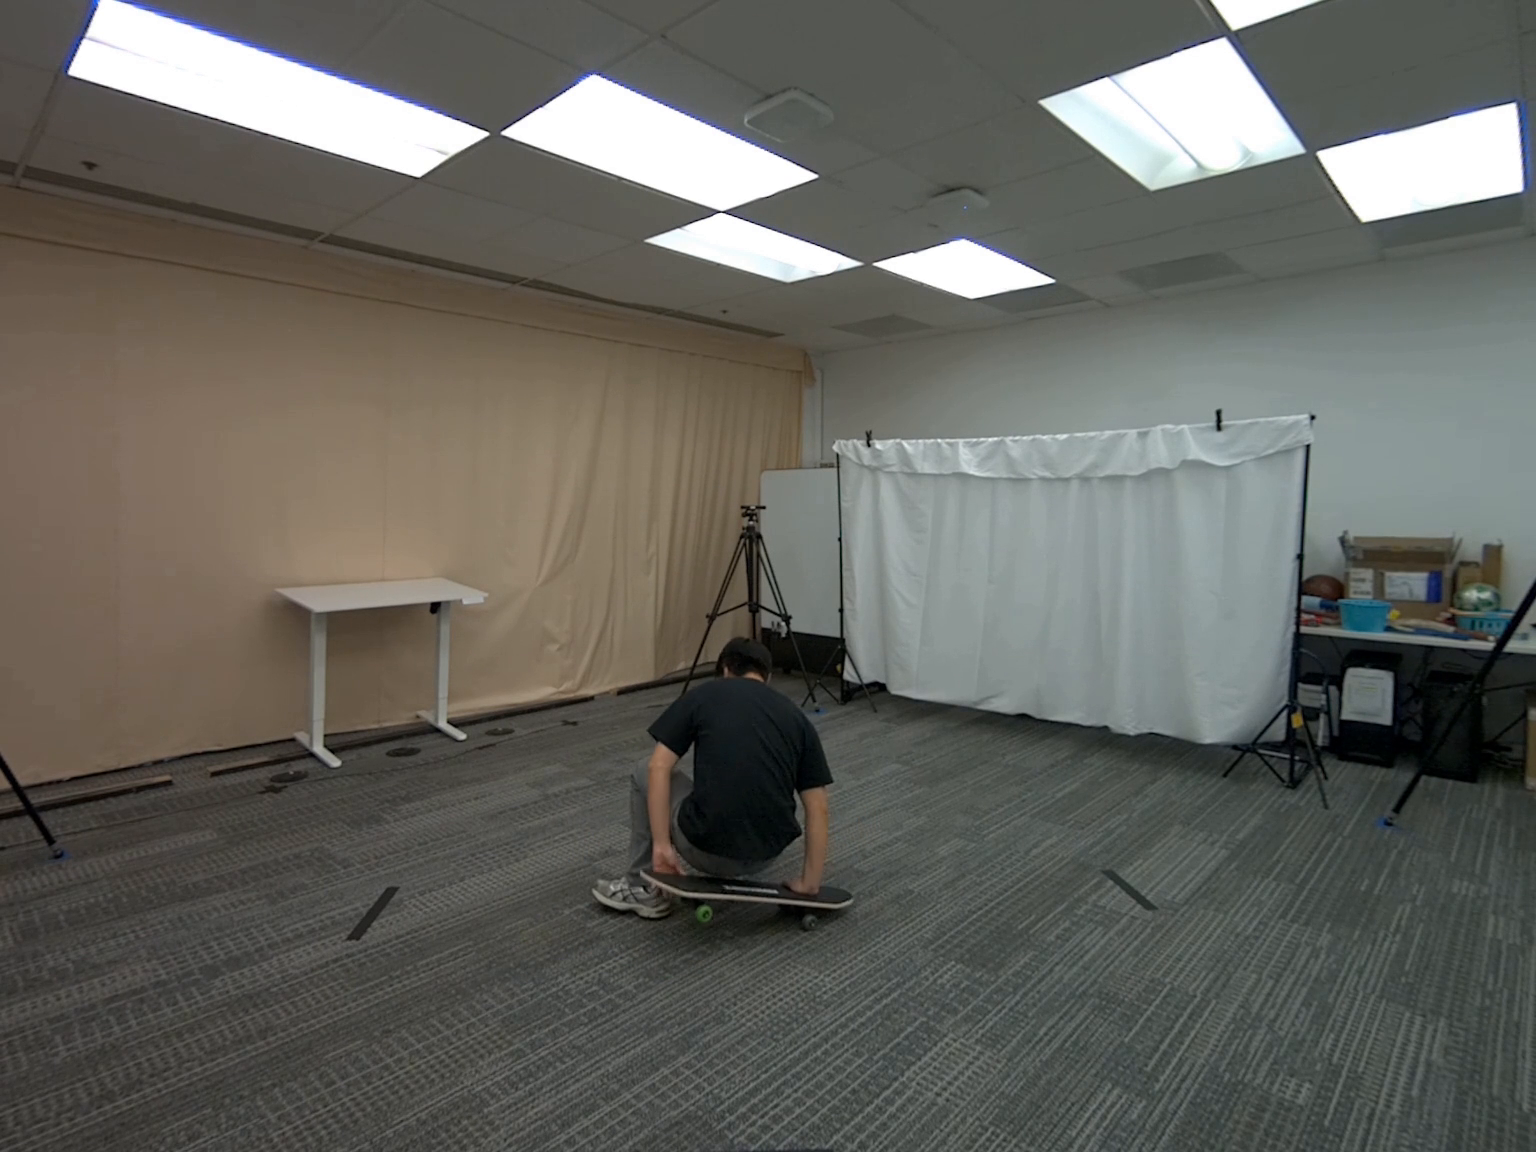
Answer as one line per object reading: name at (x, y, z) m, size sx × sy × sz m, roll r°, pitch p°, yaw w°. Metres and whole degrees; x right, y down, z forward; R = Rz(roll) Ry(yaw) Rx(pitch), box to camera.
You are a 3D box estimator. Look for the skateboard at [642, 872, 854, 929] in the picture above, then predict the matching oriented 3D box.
skateboard at (-0.076, 1.060, 2.743) m, size 0.764 × 0.111 × 0.198 m, roll 14°, pitch -8°, yaw -26°
